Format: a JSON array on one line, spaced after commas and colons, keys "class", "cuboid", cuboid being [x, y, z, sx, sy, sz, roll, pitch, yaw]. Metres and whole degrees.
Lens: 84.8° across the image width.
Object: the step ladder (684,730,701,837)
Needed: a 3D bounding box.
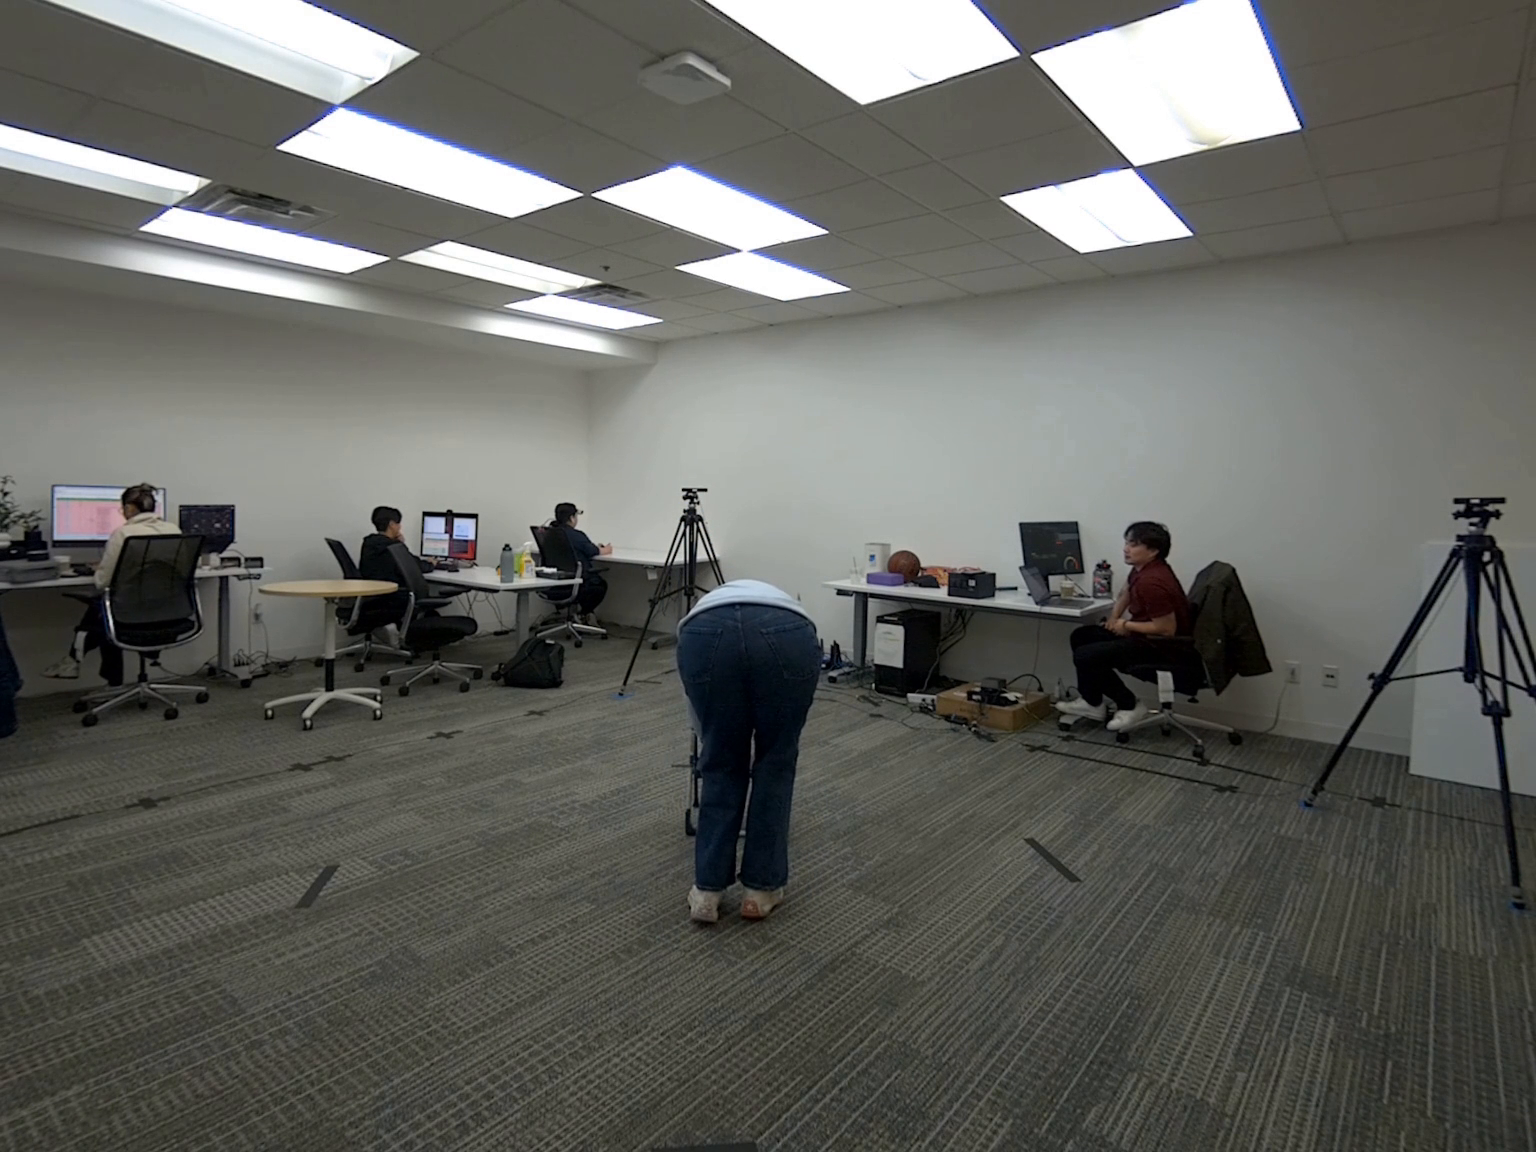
[{"class": "step ladder", "cuboid": [-0.123, 0.722, 3.545, 0.433, 0.604, 0.349, 1, 4, 3]}]
